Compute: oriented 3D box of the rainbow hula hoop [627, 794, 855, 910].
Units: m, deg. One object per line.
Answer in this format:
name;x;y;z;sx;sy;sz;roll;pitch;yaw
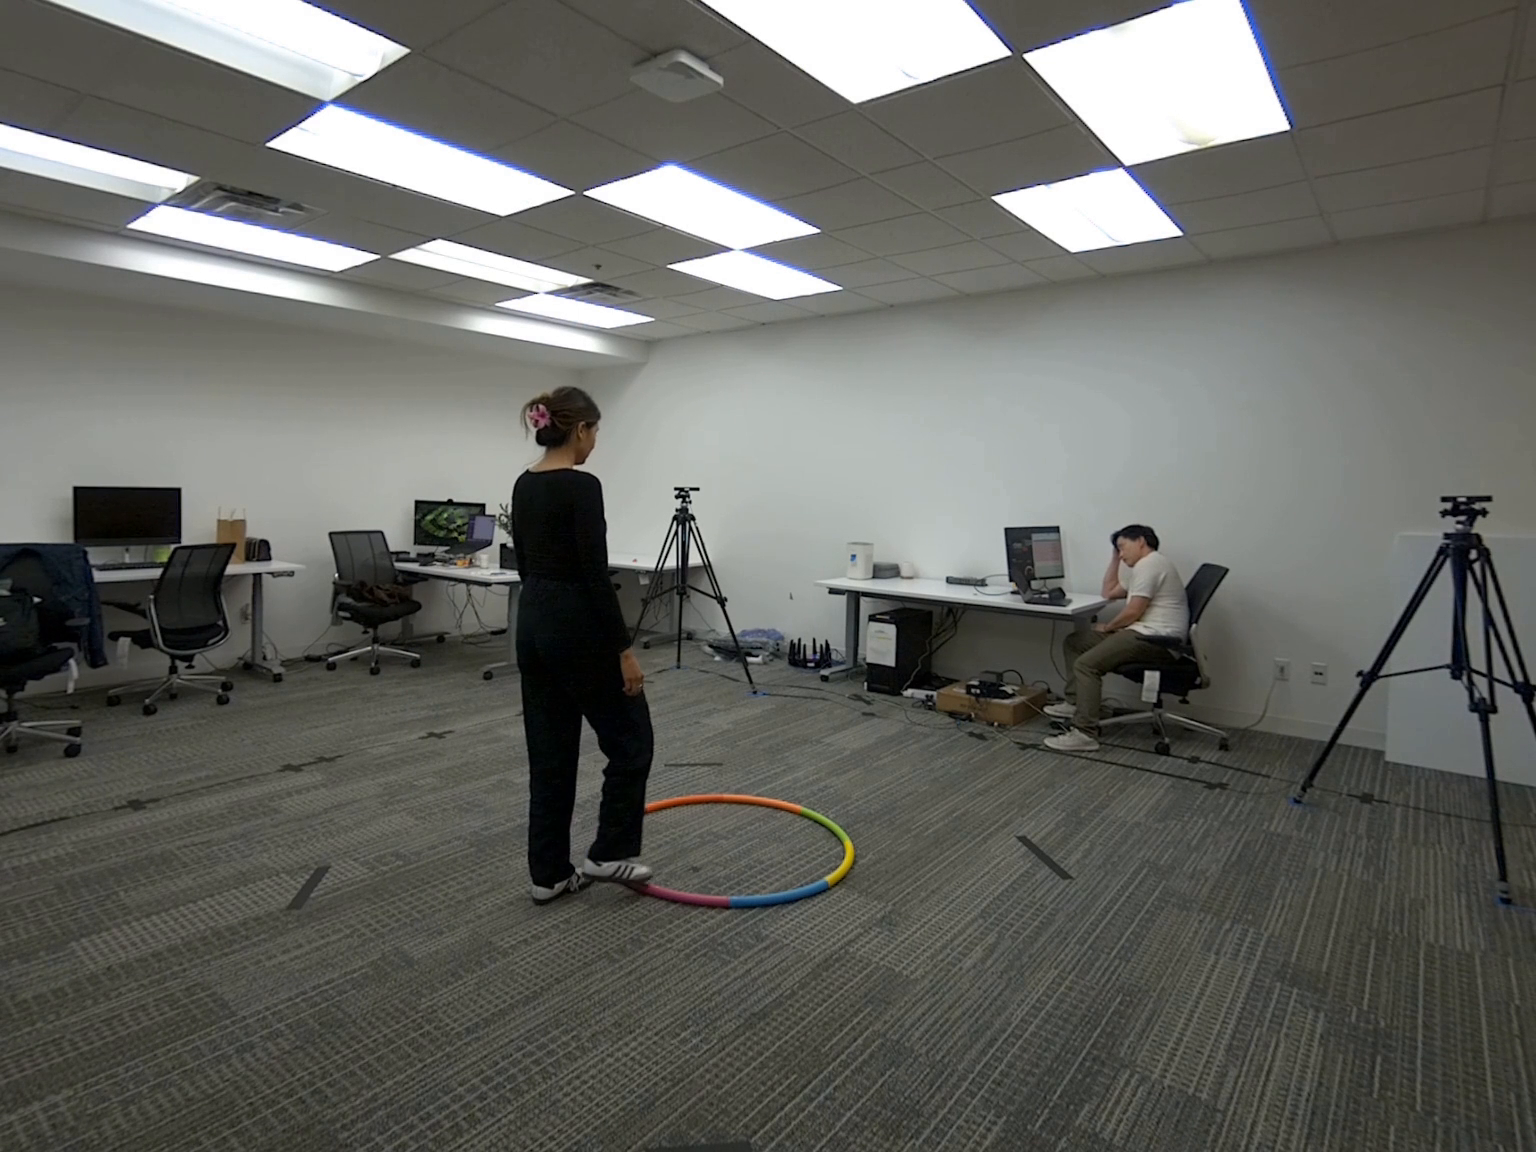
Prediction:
rainbow hula hoop;-0.168;1.021;3.294;0.978;0.035;0.984;1;6;-2
